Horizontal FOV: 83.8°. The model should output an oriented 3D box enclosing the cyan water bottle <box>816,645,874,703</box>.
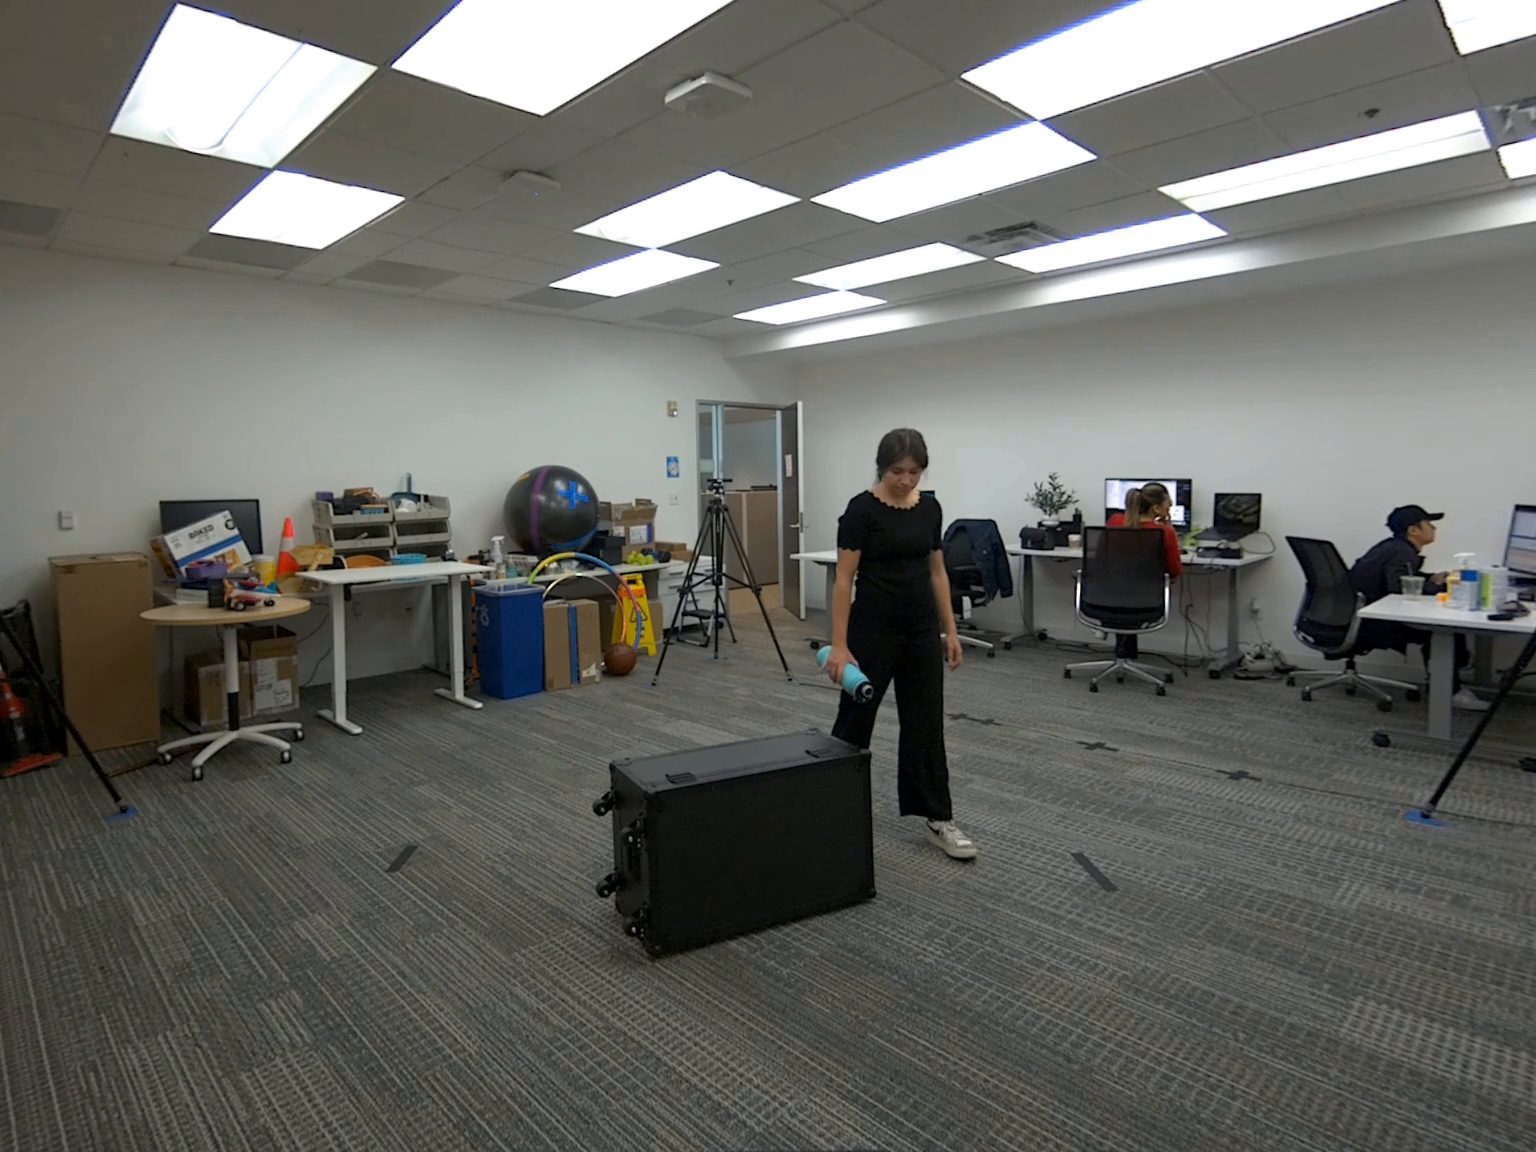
[{"bbox_3d":[0.293,0.368,3.157,0.090,0.091,0.294,-4,26,-30],"label":"cyan water bottle"}]
